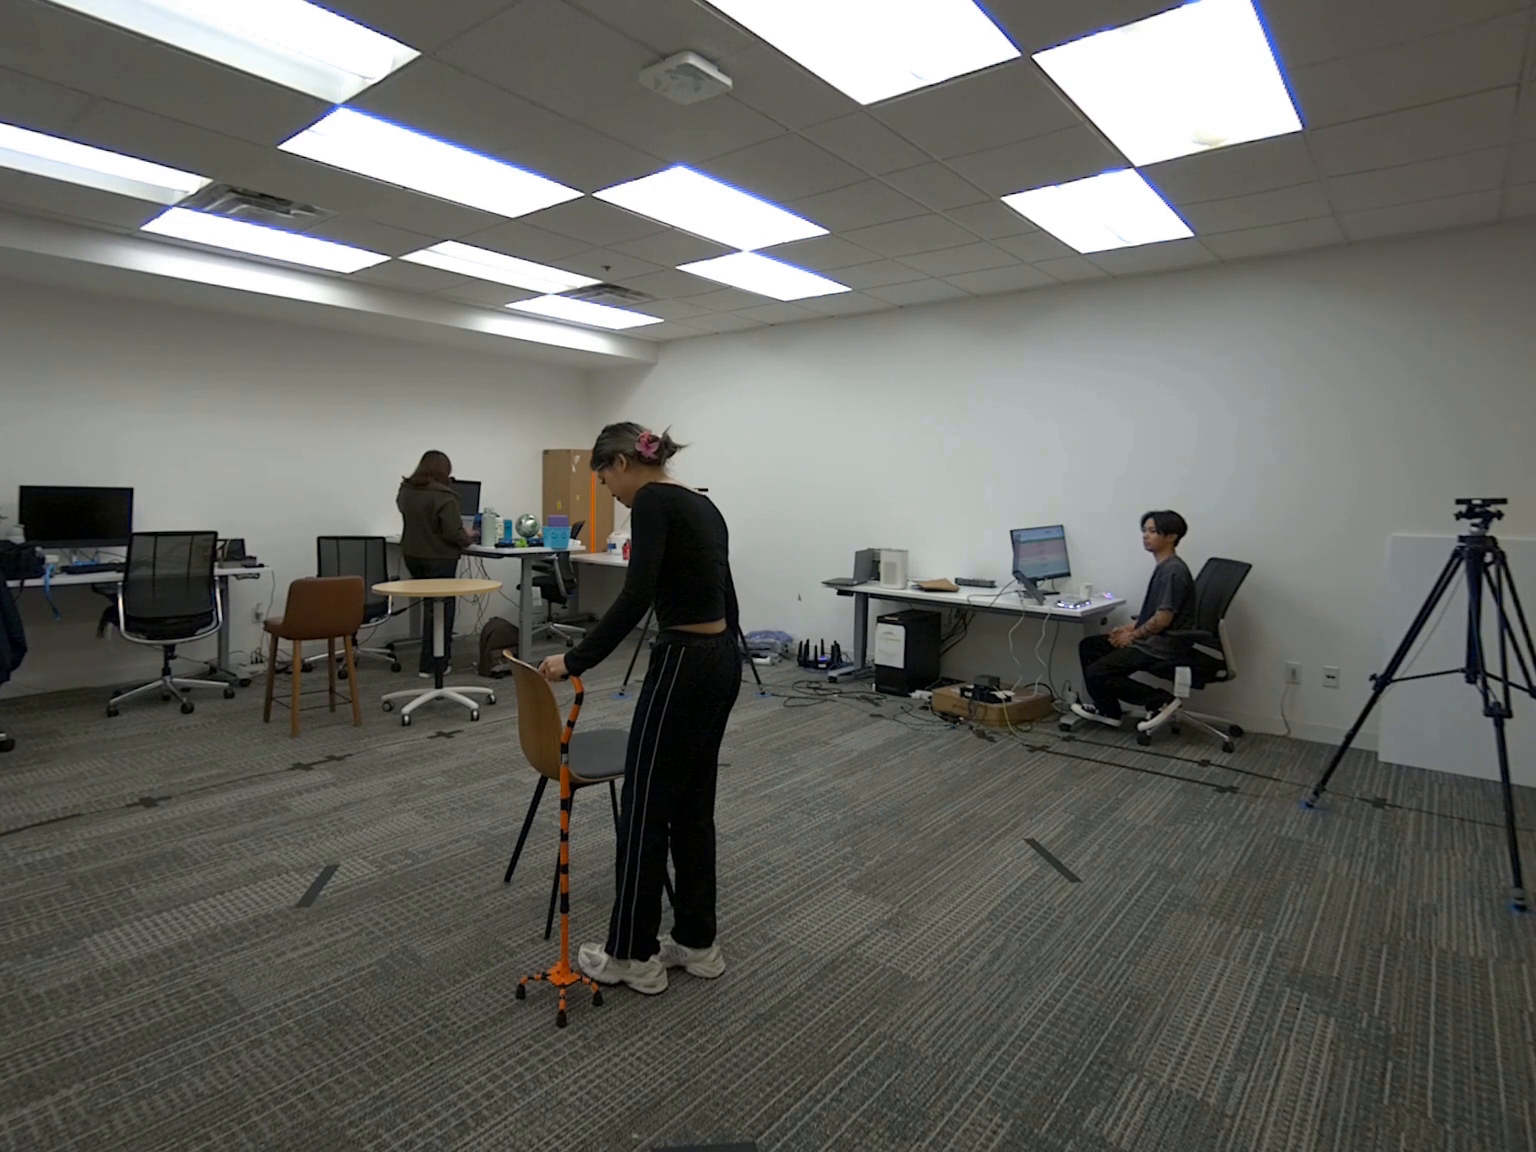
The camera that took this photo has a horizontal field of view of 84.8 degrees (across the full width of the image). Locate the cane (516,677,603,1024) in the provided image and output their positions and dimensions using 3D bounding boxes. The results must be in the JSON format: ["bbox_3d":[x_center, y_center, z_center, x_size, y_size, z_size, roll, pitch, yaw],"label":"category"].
[{"bbox_3d":[-0.570,0.681,2.305,0.147,0.906,0.213,-1,3,-42],"label":"cane"}]
